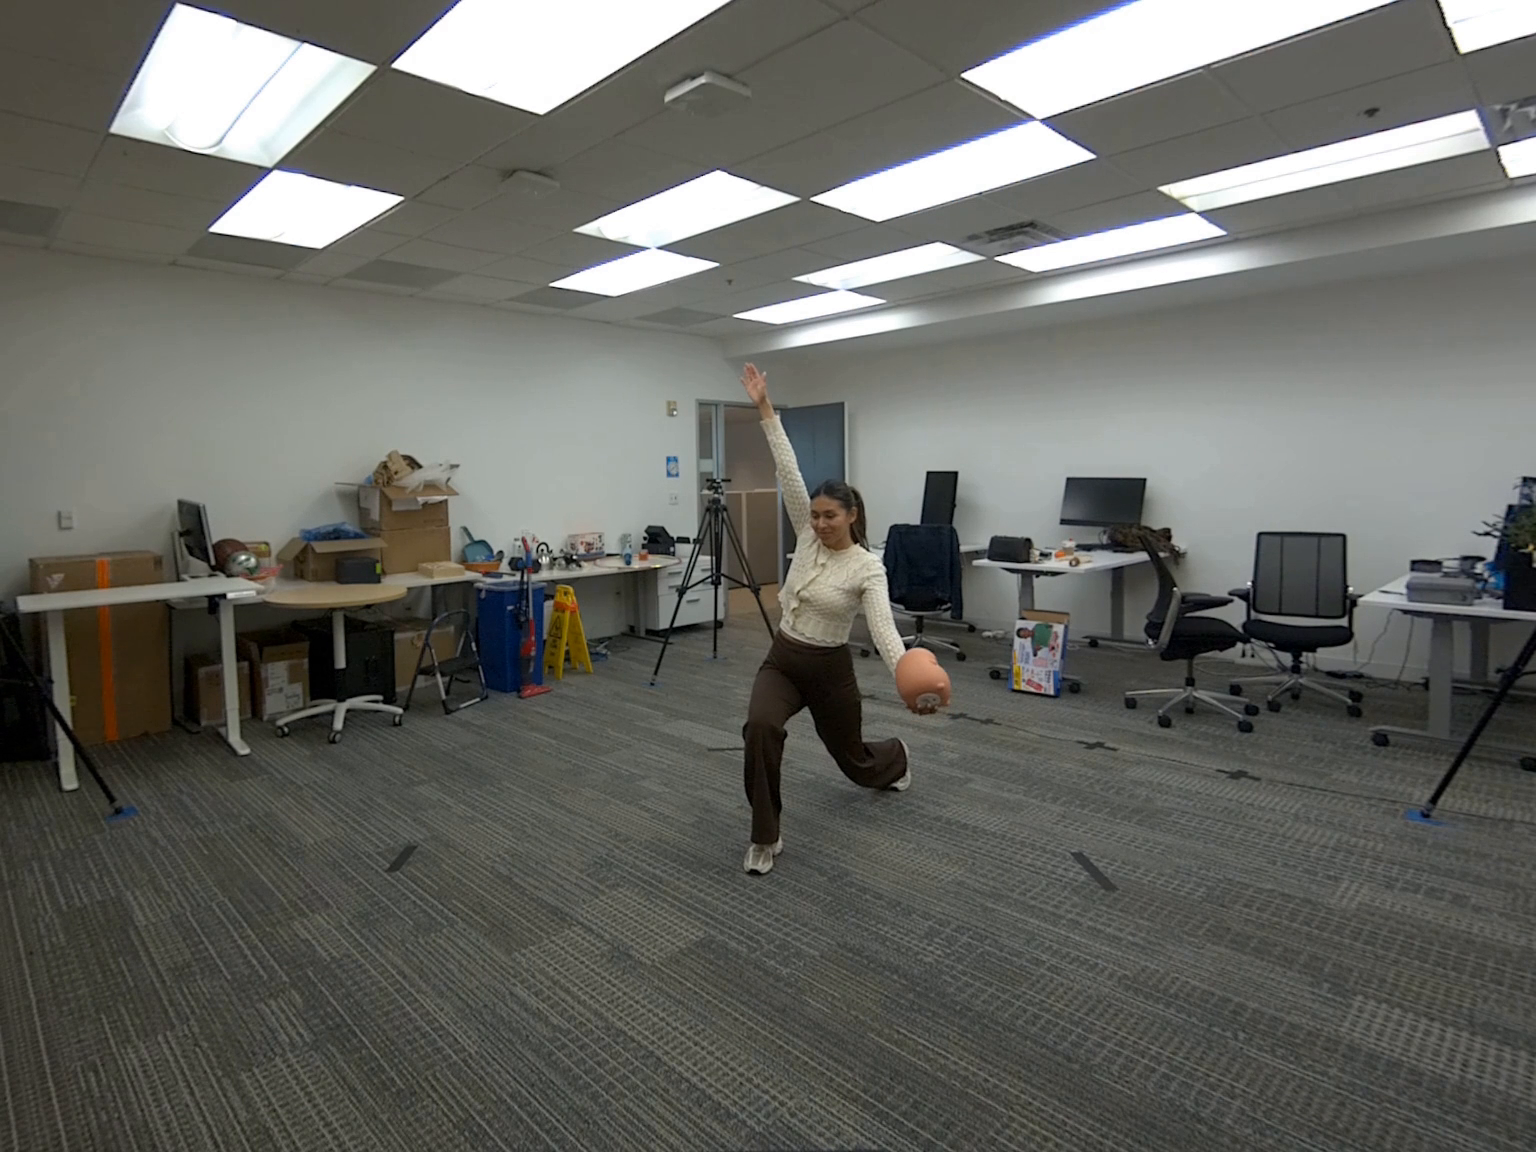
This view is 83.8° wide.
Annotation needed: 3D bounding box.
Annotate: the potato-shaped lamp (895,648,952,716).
[{"bbox_3d":[0.508,0.333,2.819,0.173,0.159,0.203,-12,43,15],"label":"potato-shaped lamp"}]
